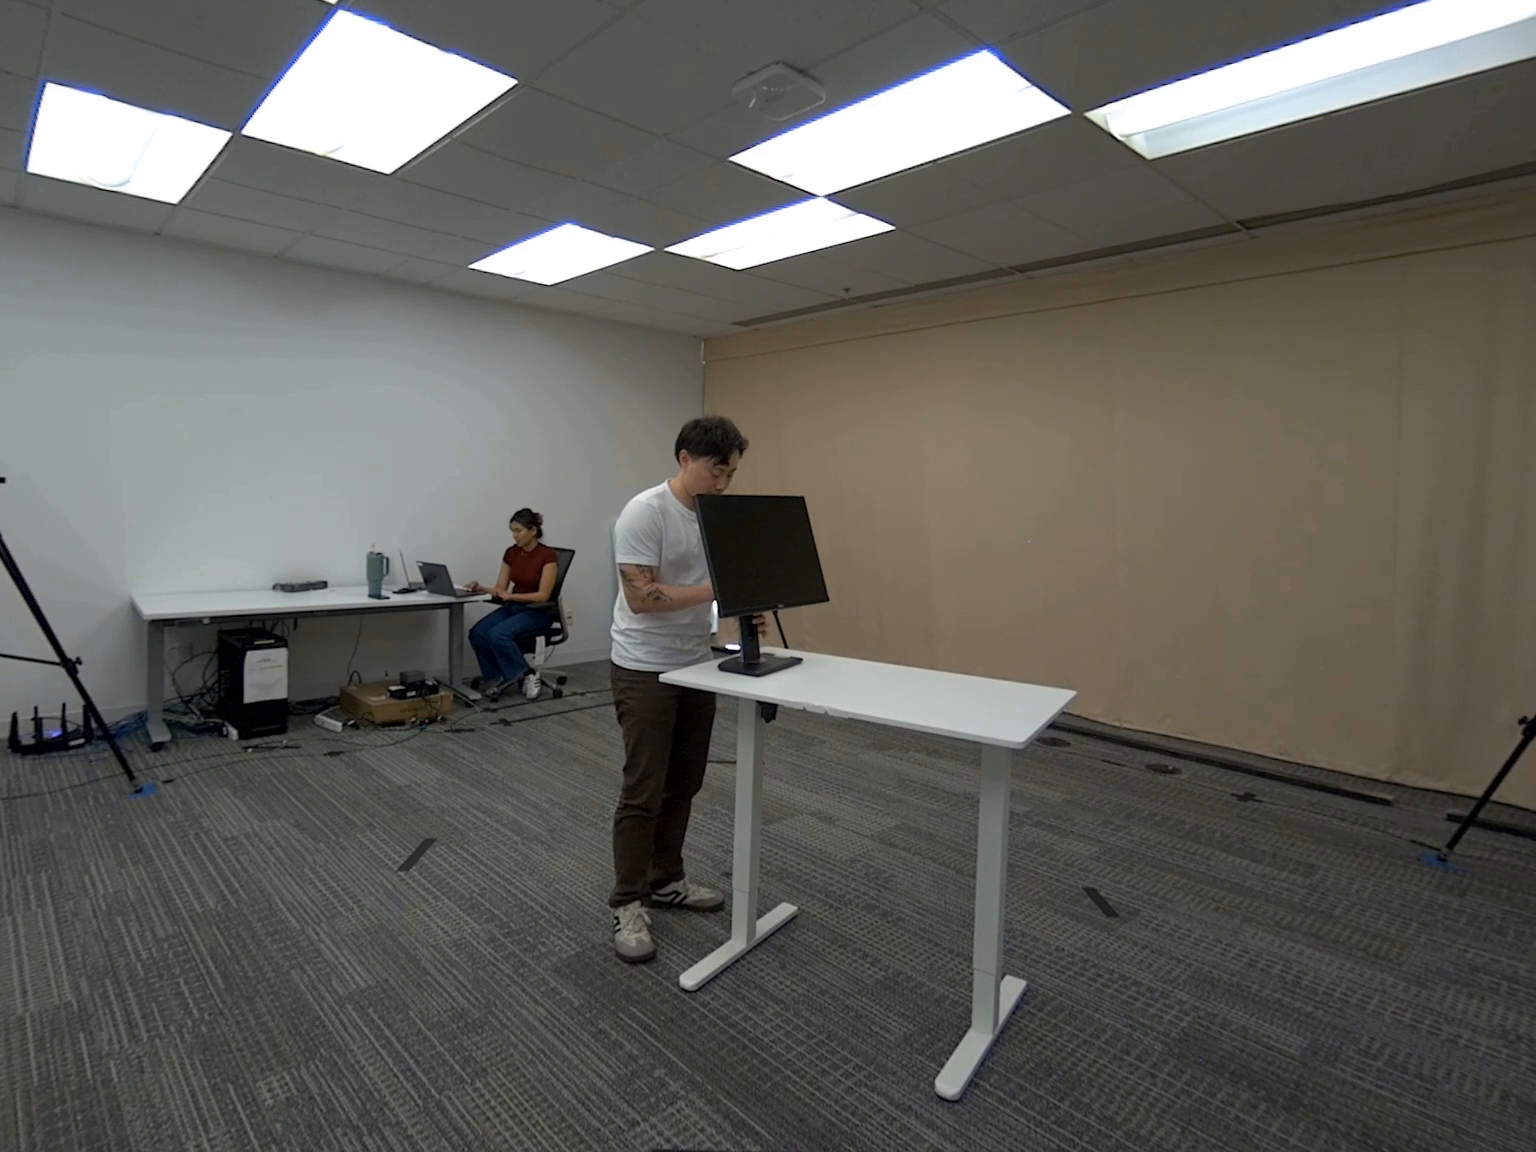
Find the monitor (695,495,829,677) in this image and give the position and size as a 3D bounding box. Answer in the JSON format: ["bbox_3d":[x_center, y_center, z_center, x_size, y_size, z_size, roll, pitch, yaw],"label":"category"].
[{"bbox_3d":[-0.043,0.019,2.525,0.191,0.522,0.528,-1,2,34],"label":"monitor"}]
